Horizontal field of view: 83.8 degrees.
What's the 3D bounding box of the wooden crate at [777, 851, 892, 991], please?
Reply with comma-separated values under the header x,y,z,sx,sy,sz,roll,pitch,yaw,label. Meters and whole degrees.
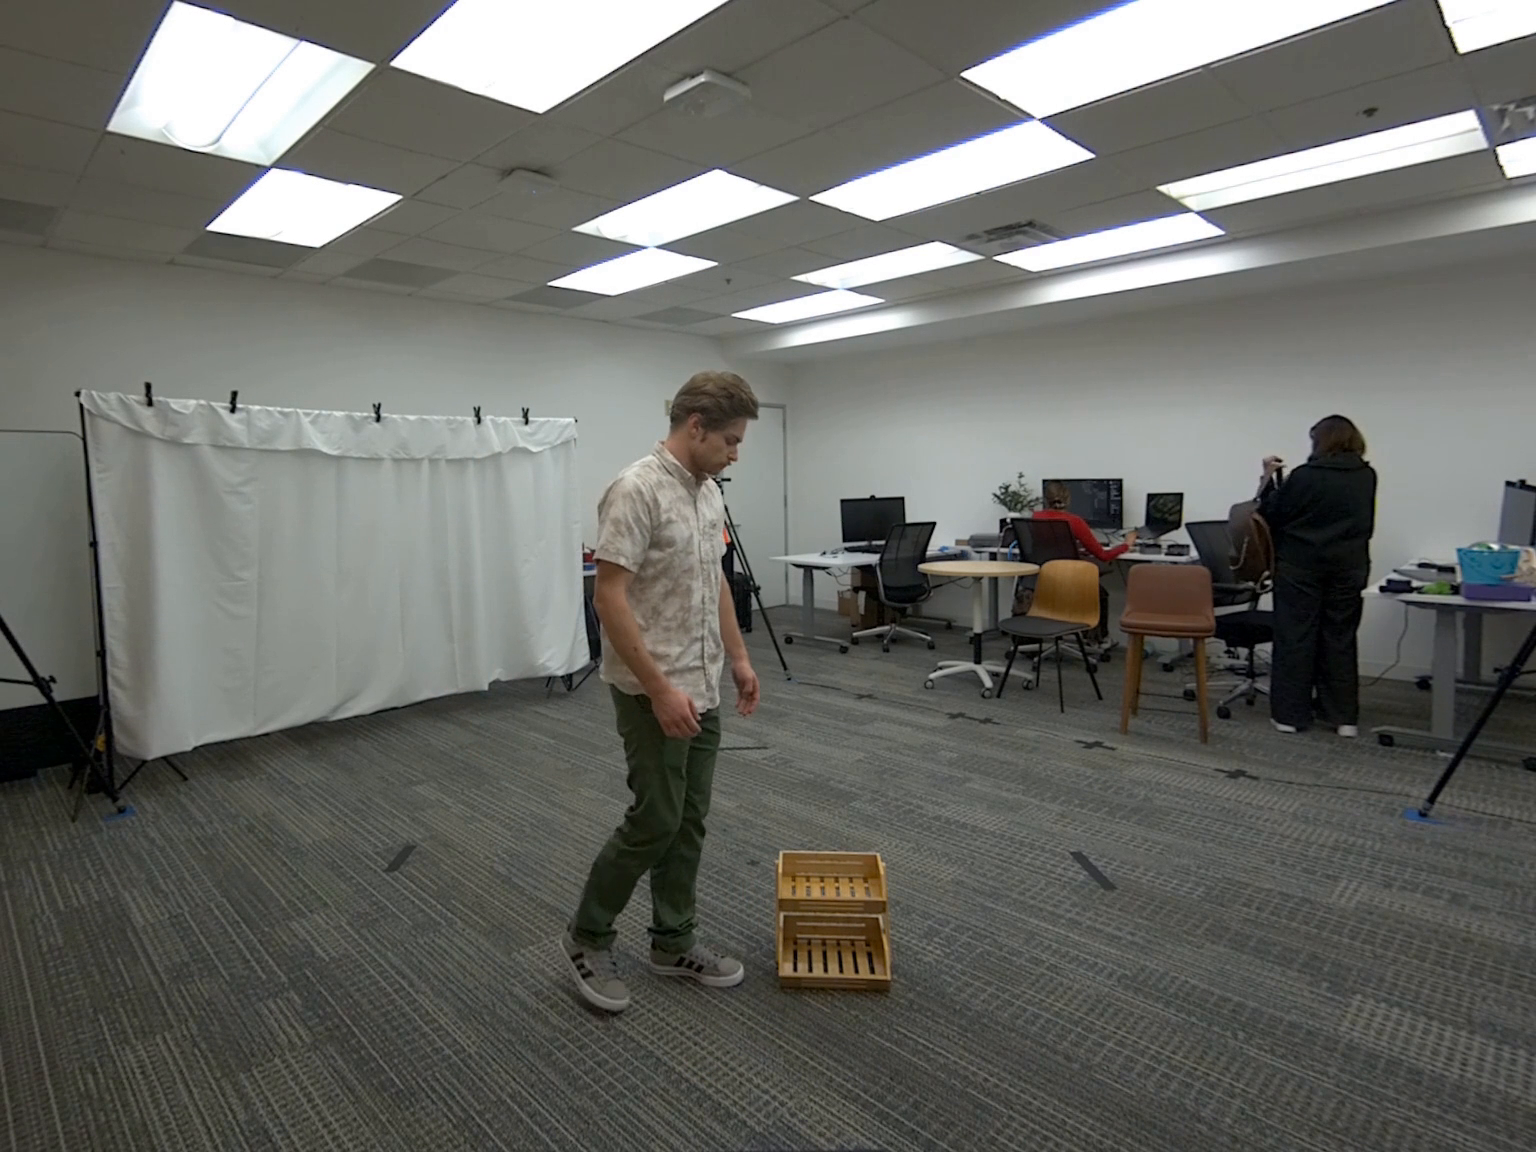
x,y,z,sx,sy,sz,roll,pitch,yaw,label
0.190,0.987,2.442,0.325,0.272,0.302,-1,6,3,wooden crate
